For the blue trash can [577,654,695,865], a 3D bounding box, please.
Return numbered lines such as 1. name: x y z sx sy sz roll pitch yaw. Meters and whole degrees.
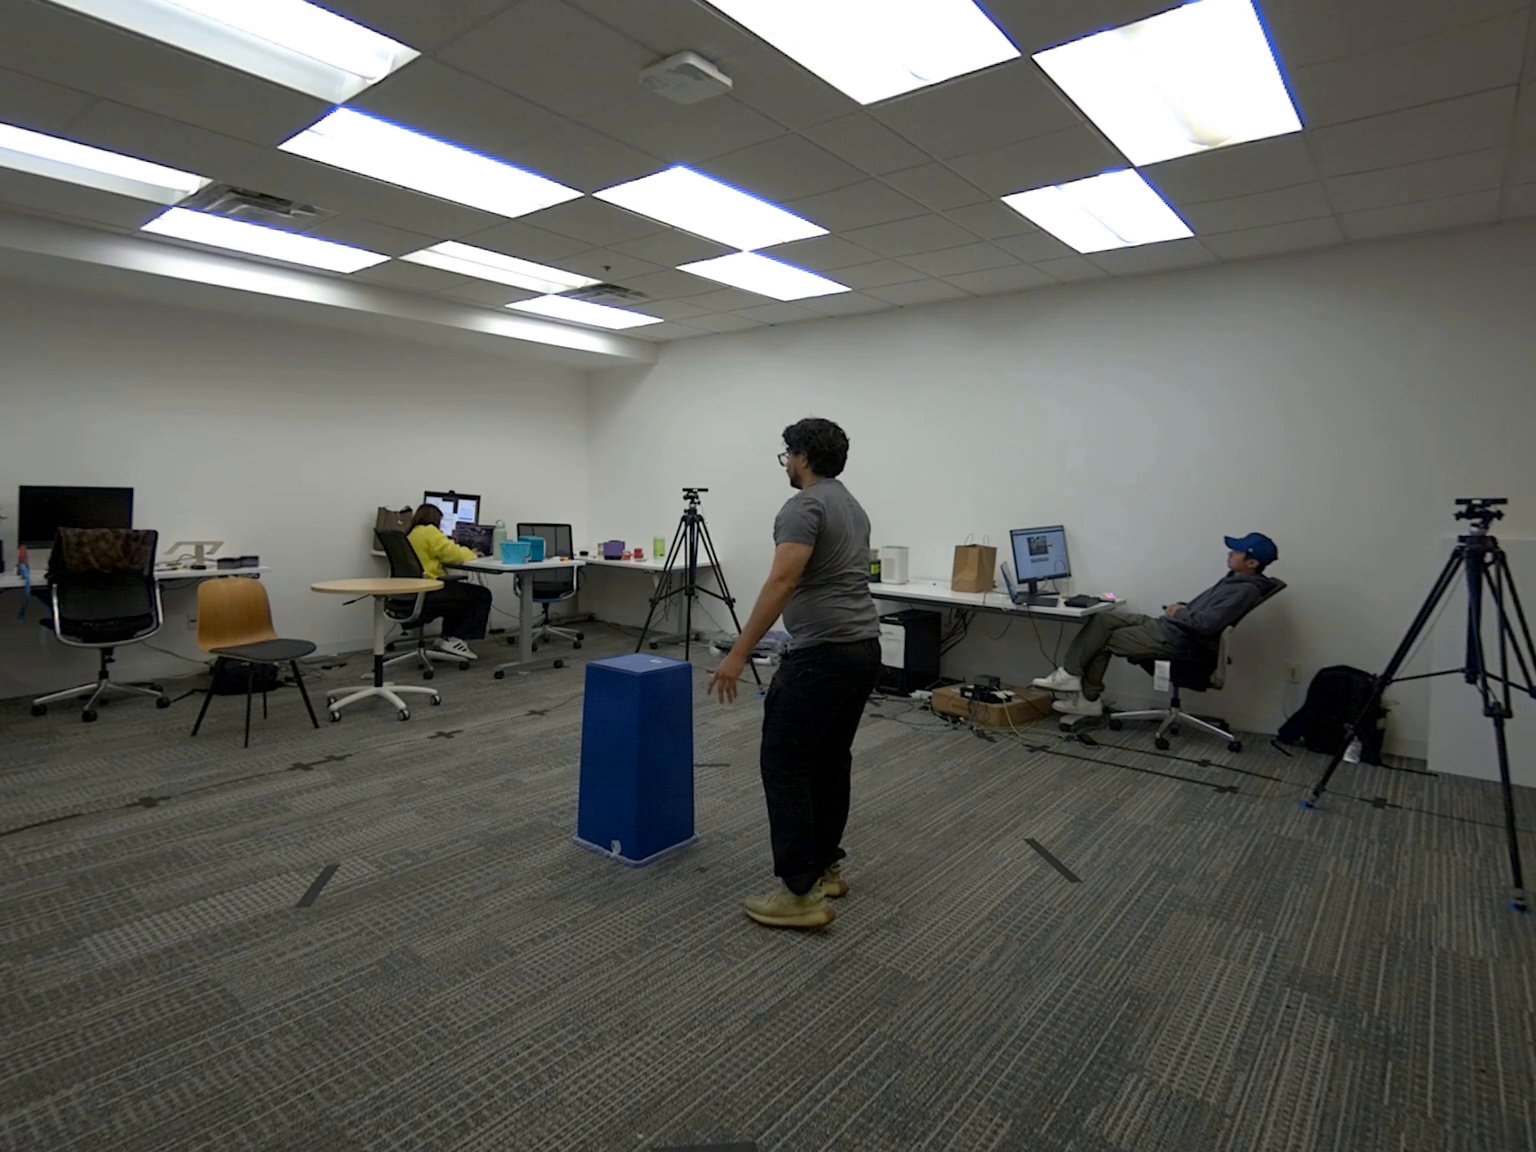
1. blue trash can: -0.514 0.688 3.345 0.391 0.712 0.363 4 3 38
